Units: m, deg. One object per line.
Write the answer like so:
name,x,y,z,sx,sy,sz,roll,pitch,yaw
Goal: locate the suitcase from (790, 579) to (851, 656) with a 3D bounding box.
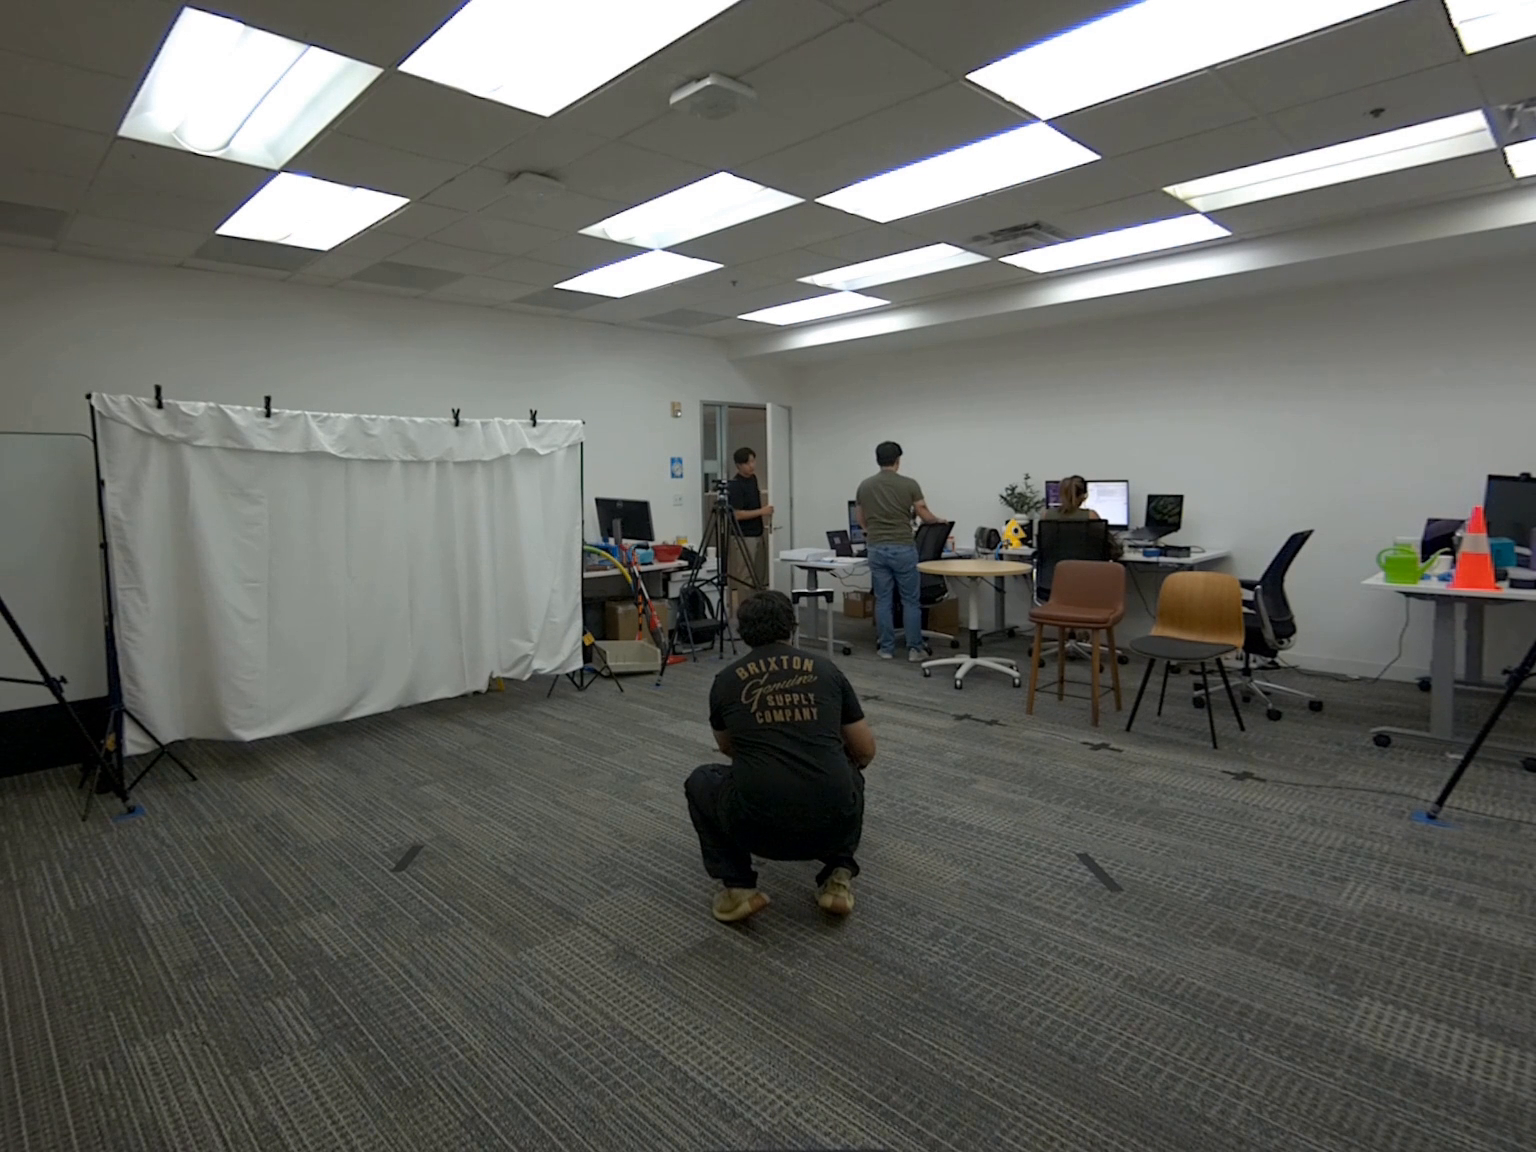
suitcase,0.160,0.547,3.306,0.382,0.978,0.259,-1,0,-7
